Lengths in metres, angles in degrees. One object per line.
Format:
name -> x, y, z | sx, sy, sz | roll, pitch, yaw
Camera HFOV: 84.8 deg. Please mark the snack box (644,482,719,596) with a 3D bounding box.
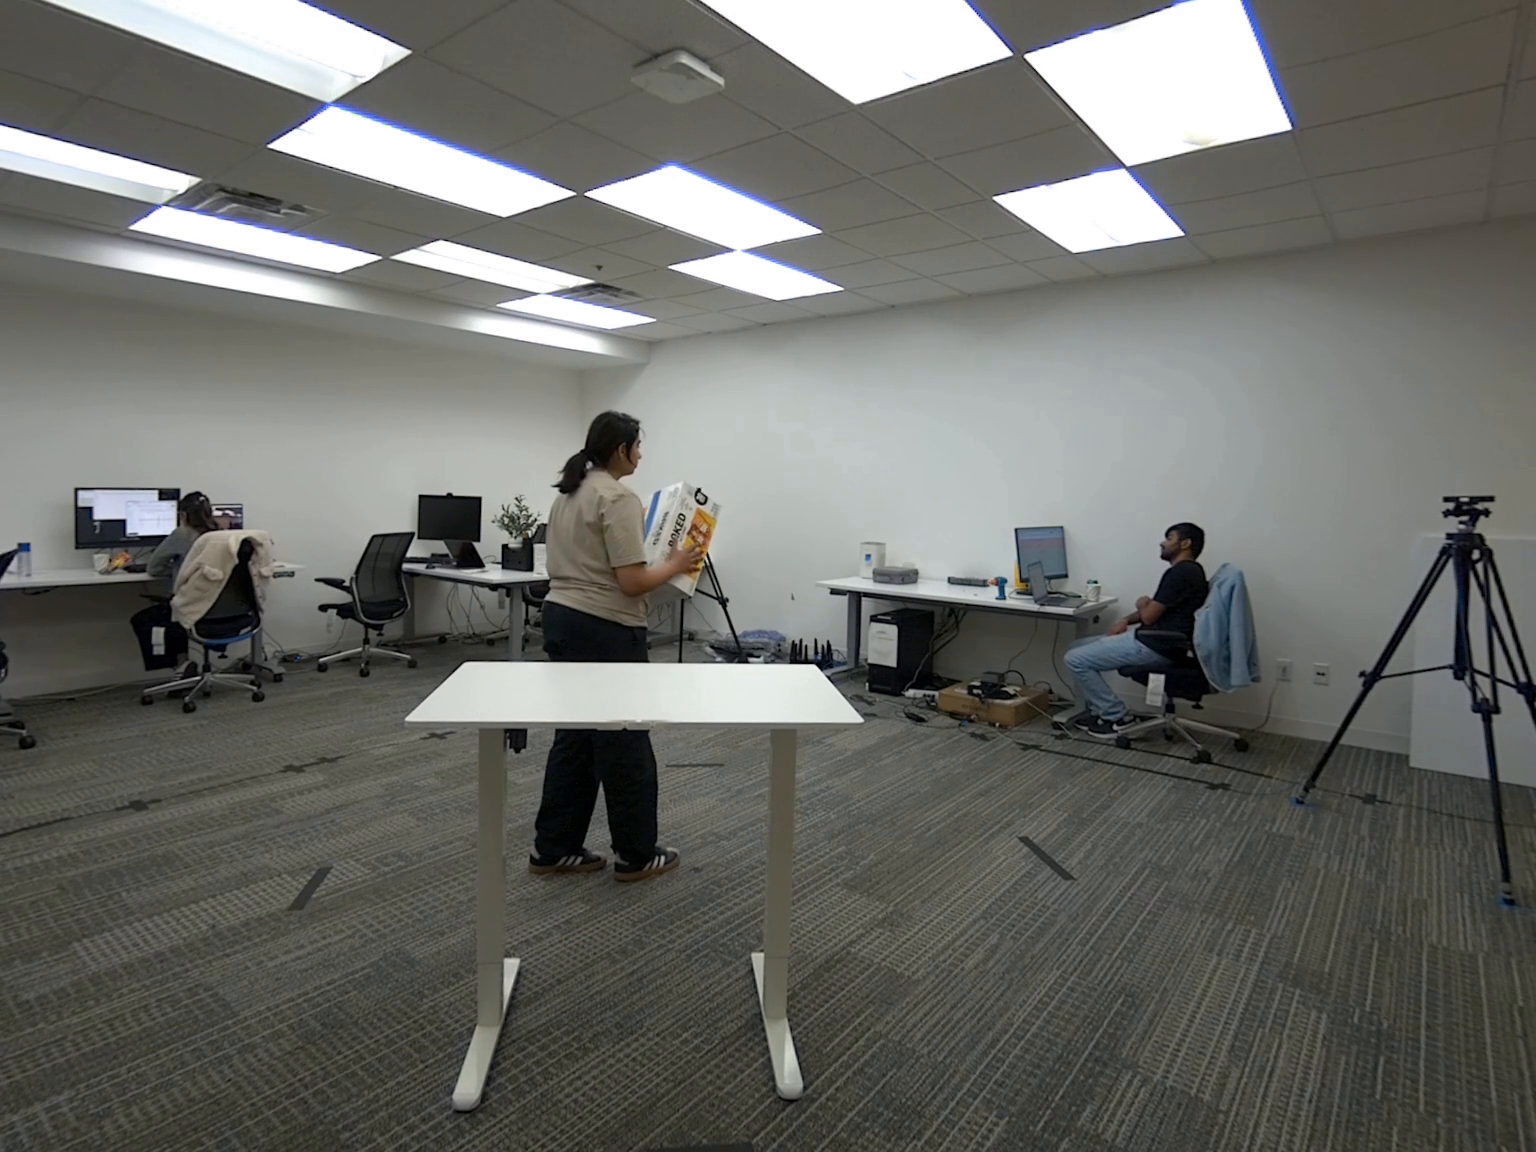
snack box -> -0.419, -0.124, 3.333 | 0.198, 0.411, 0.348 | 33, -30, -31
